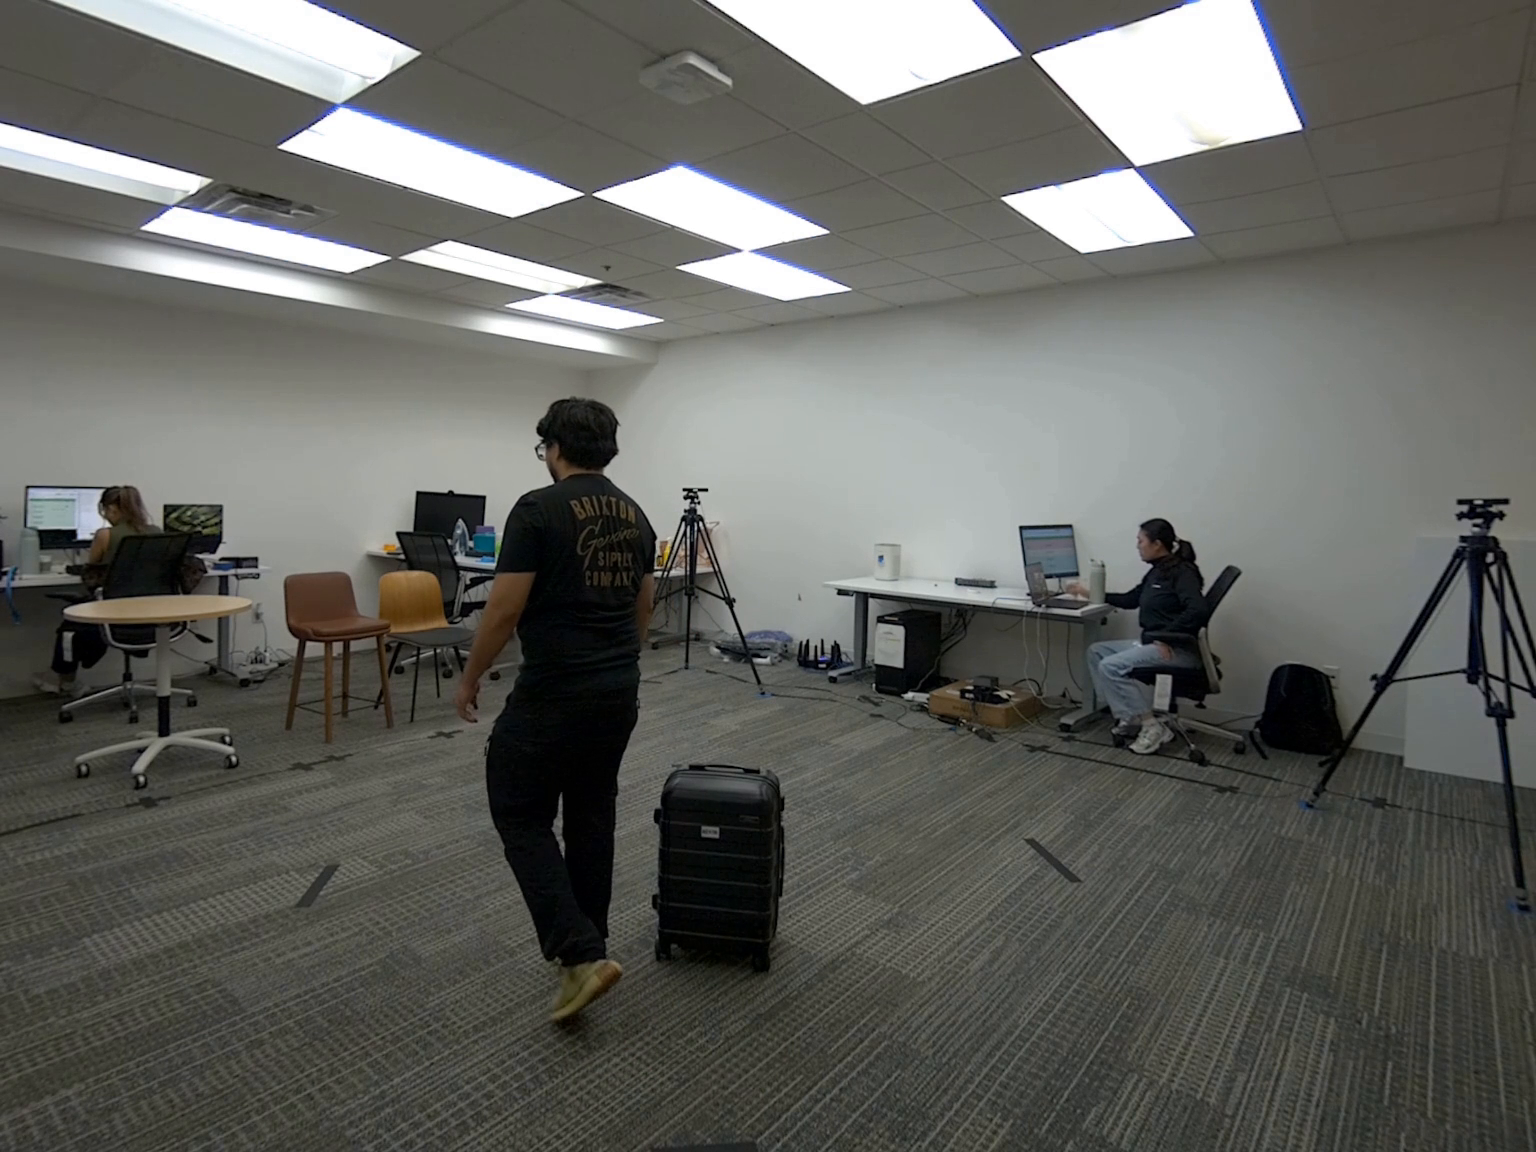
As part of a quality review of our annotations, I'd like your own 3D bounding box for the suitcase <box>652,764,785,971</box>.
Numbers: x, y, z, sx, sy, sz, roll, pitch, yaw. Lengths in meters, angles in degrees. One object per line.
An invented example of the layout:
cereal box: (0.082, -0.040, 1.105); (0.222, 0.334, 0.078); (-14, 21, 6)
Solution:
suitcase: (-0.147, 0.849, 2.561); (0.379, 0.547, 0.247); (2, 5, 8)
